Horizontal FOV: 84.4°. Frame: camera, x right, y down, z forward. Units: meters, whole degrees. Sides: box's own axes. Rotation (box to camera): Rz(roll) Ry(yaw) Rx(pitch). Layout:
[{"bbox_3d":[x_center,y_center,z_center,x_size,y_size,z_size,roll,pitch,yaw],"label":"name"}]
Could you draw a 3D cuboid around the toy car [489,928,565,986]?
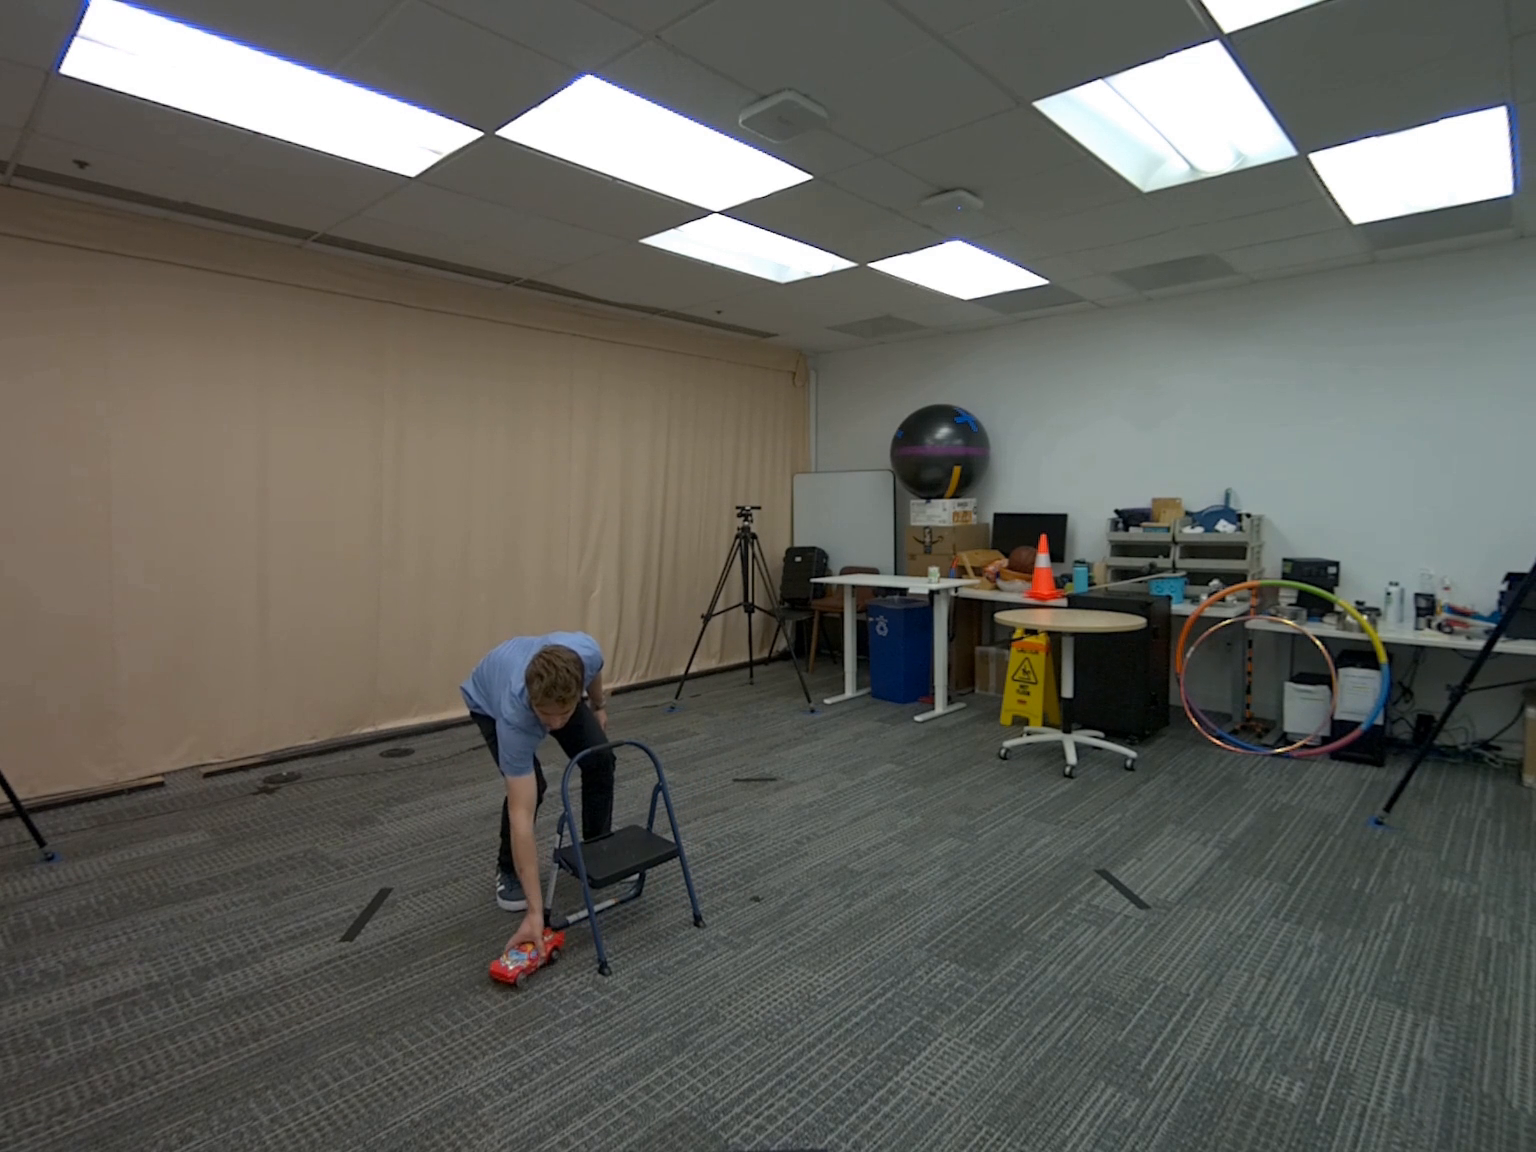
[{"bbox_3d":[-0.727,1.136,2.532,0.134,0.082,0.250,0,14,29],"label":"toy car"}]
